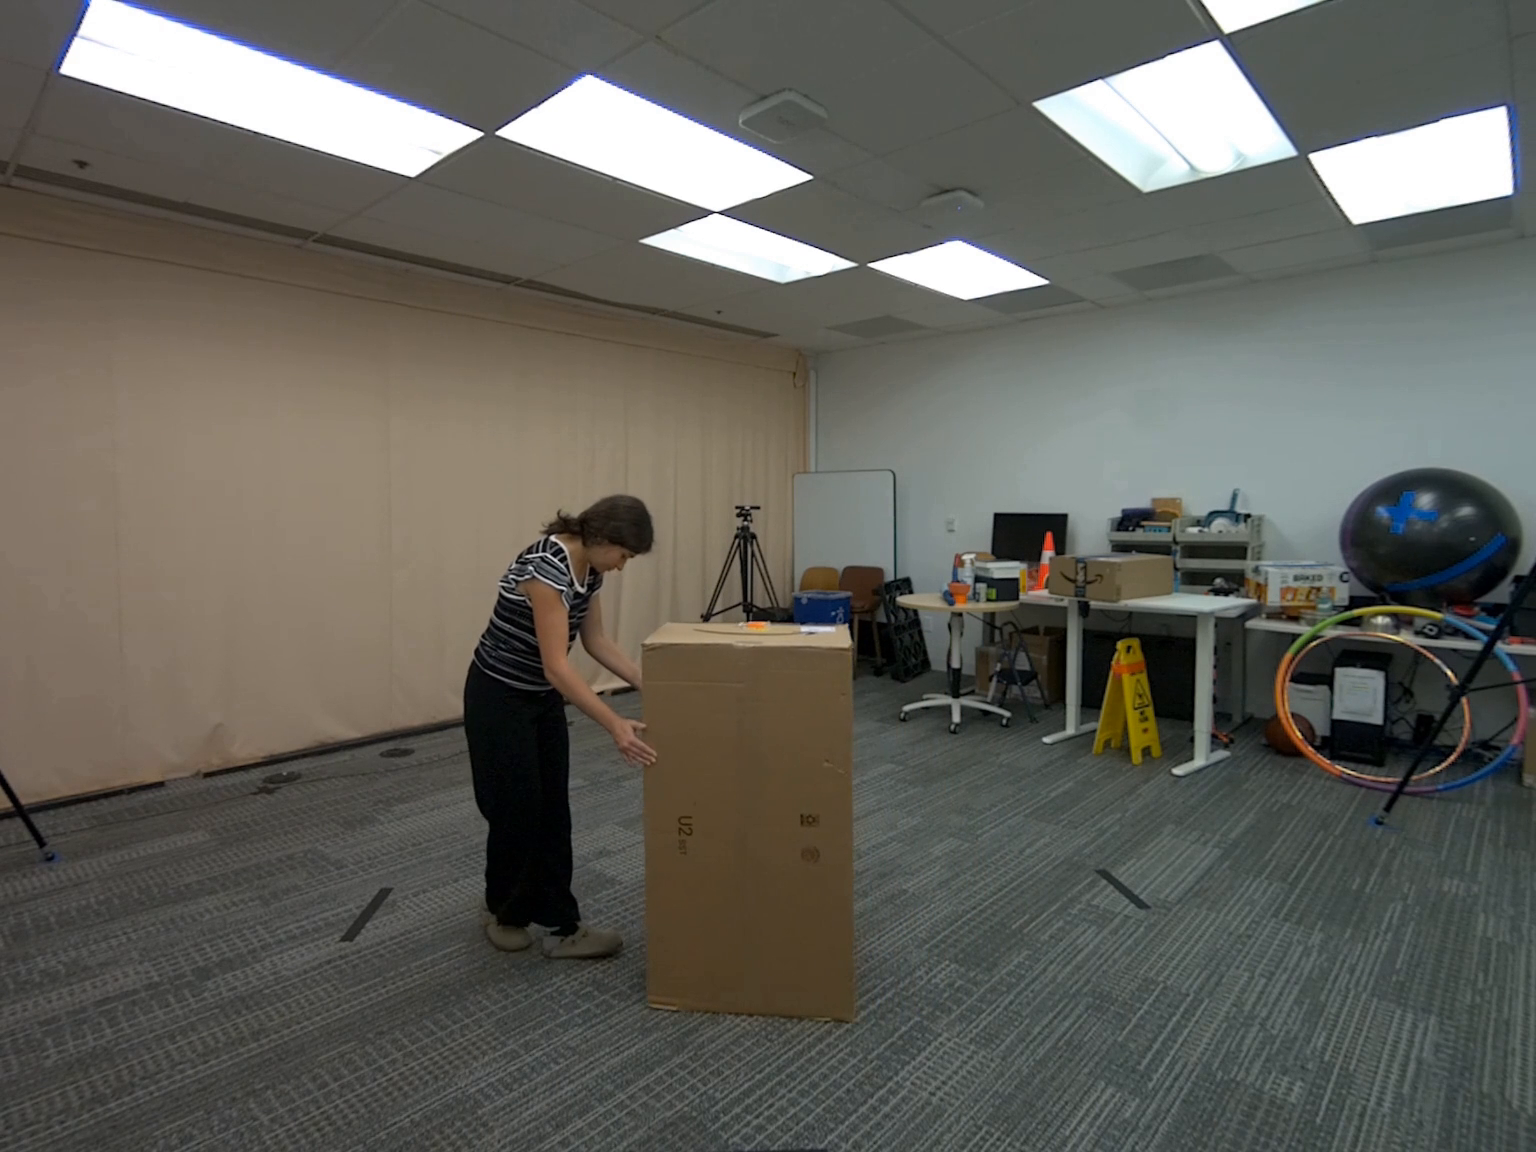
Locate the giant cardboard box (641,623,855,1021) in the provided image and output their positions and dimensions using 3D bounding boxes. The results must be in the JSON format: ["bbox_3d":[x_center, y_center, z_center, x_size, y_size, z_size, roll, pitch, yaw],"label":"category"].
[{"bbox_3d":[-0.033,0.678,2.478,0.581,1.024,0.424,0,3,5],"label":"giant cardboard box"}]
